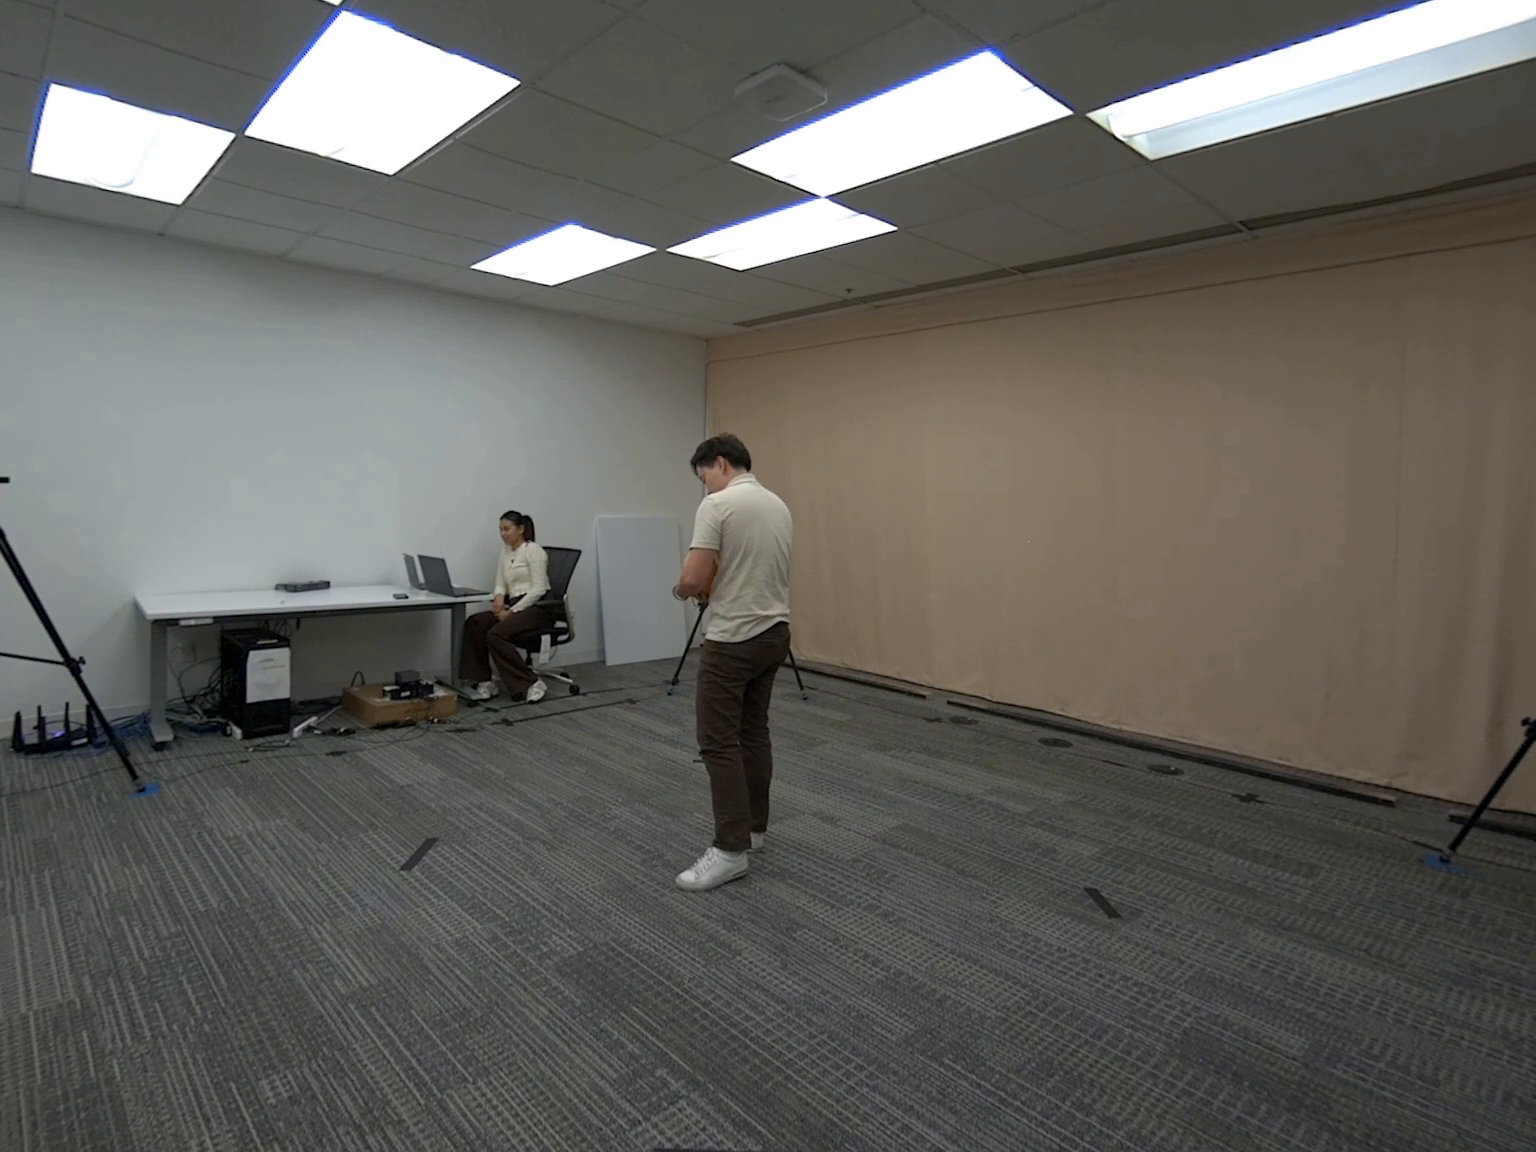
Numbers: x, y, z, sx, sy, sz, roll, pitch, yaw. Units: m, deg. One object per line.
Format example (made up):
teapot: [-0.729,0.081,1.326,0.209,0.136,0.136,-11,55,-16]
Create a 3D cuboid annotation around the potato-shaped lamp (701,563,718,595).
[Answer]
potato-shaped lamp: [-0.250,-0.024,3.308,0.168,0.194,0.171,33,56,16]
